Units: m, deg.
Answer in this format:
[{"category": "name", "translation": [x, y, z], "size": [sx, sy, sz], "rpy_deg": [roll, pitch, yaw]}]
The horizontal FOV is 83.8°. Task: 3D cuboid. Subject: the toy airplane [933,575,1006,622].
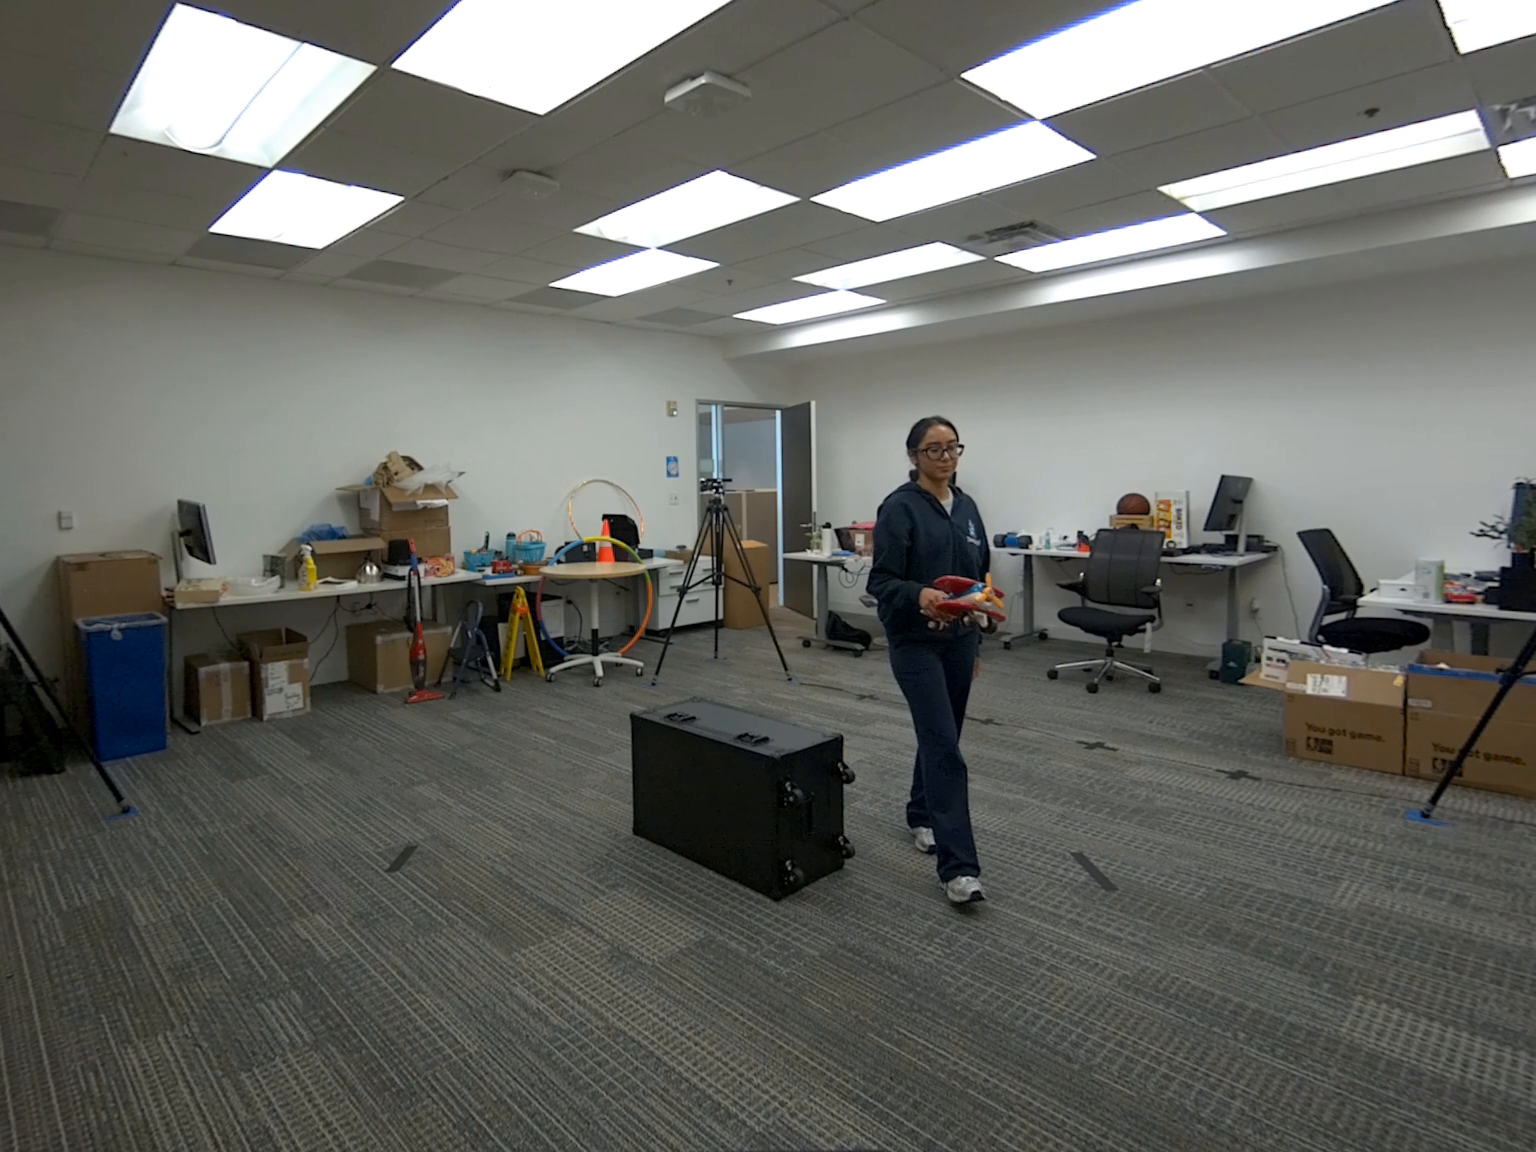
[{"category": "toy airplane", "translation": [0.598, 0.094, 2.687], "size": [0.266, 0.158, 0.242], "rpy_deg": [2, -13, 34]}]
